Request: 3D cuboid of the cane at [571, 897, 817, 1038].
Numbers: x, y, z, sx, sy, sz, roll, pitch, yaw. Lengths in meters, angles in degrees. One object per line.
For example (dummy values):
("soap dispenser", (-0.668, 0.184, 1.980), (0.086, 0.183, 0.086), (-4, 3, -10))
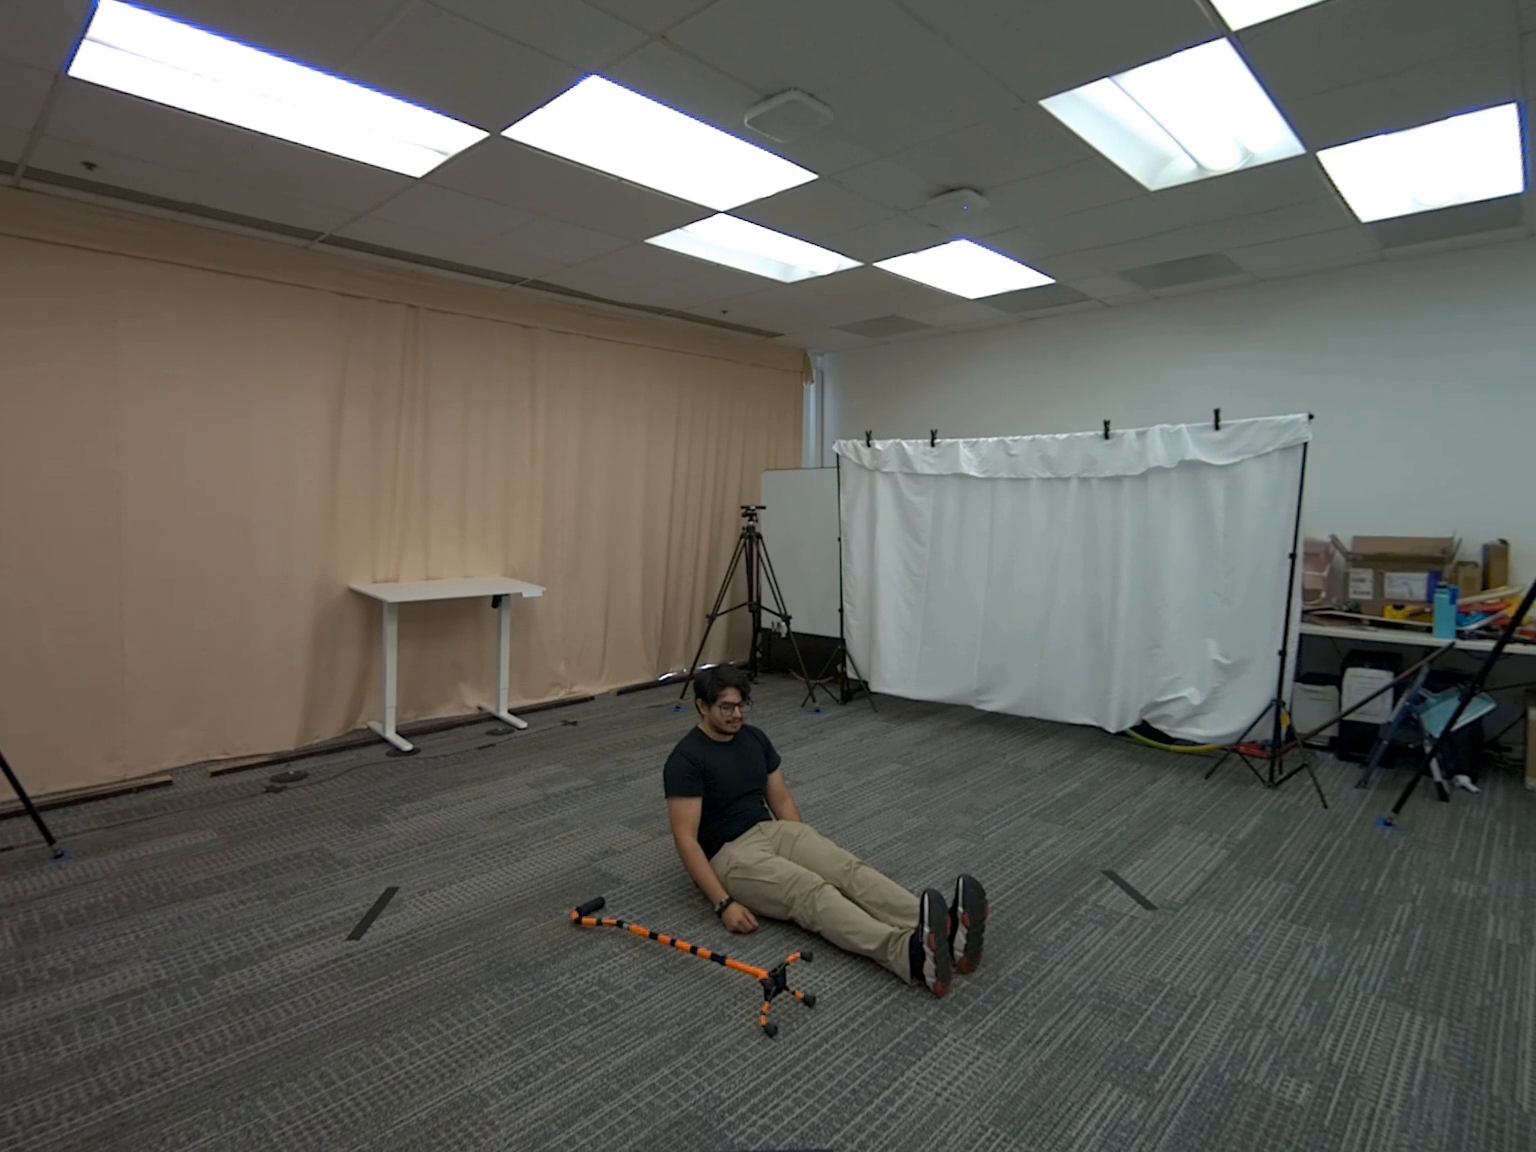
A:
("cane", (-0.282, 1.128, 2.577), (0.936, 0.151, 0.200), (-2, 3, 40))
